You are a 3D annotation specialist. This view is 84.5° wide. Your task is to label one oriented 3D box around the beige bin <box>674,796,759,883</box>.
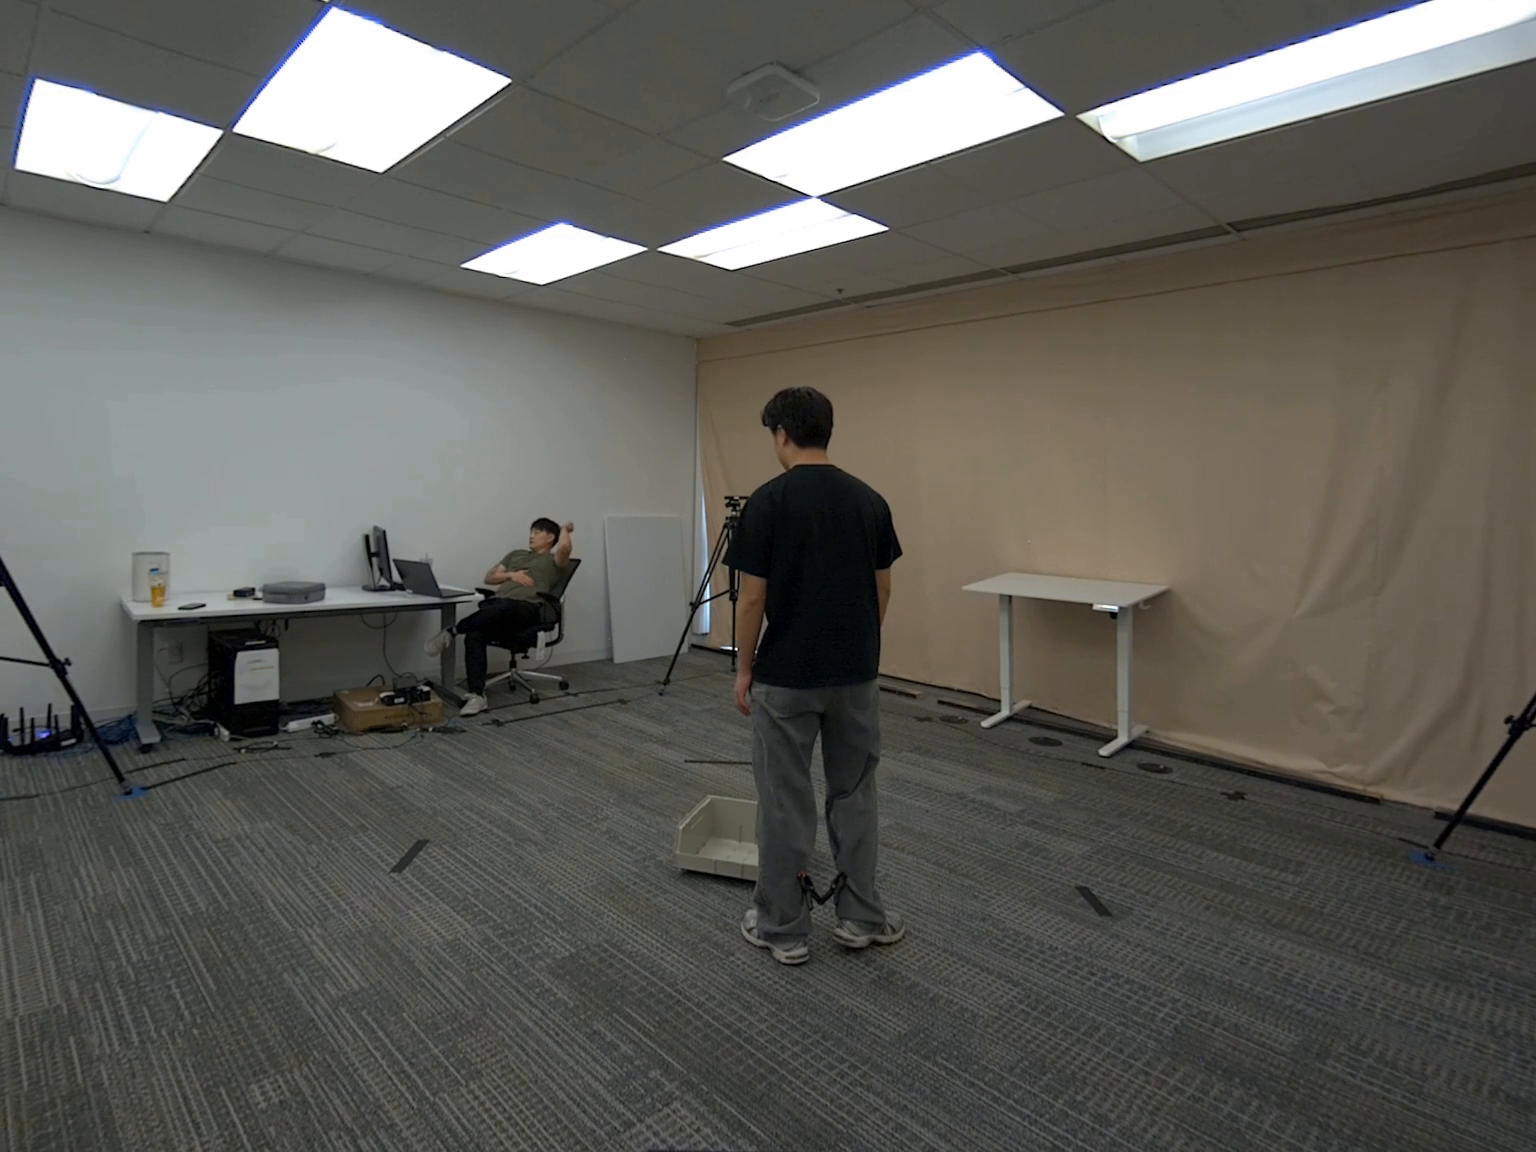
[{"bbox_3d":[-0.097,1.009,3.190,0.428,0.188,0.373,3,4,16],"label":"beige bin"}]
